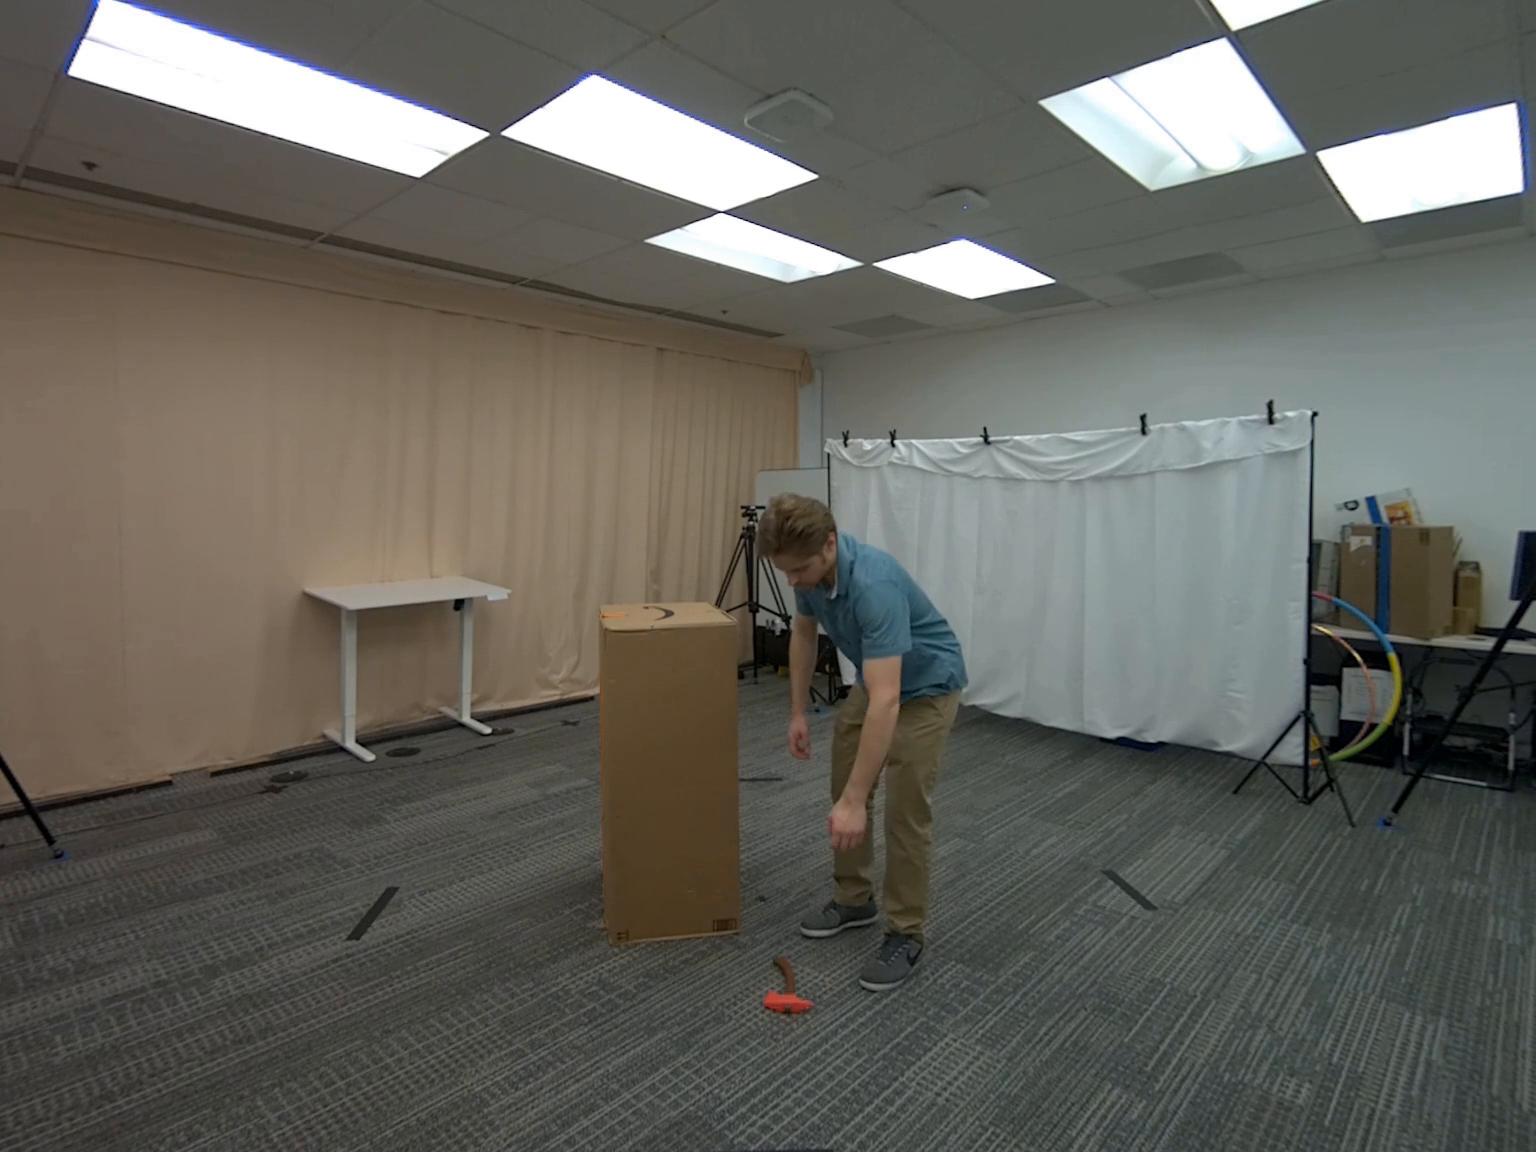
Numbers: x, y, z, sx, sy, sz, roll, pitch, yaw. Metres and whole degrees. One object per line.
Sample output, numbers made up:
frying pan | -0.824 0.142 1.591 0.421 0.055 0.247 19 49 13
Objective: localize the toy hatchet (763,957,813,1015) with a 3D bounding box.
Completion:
toy hatchet | 0.033 1.179 2.427 0.129 0.029 0.274 -4 2 -14
